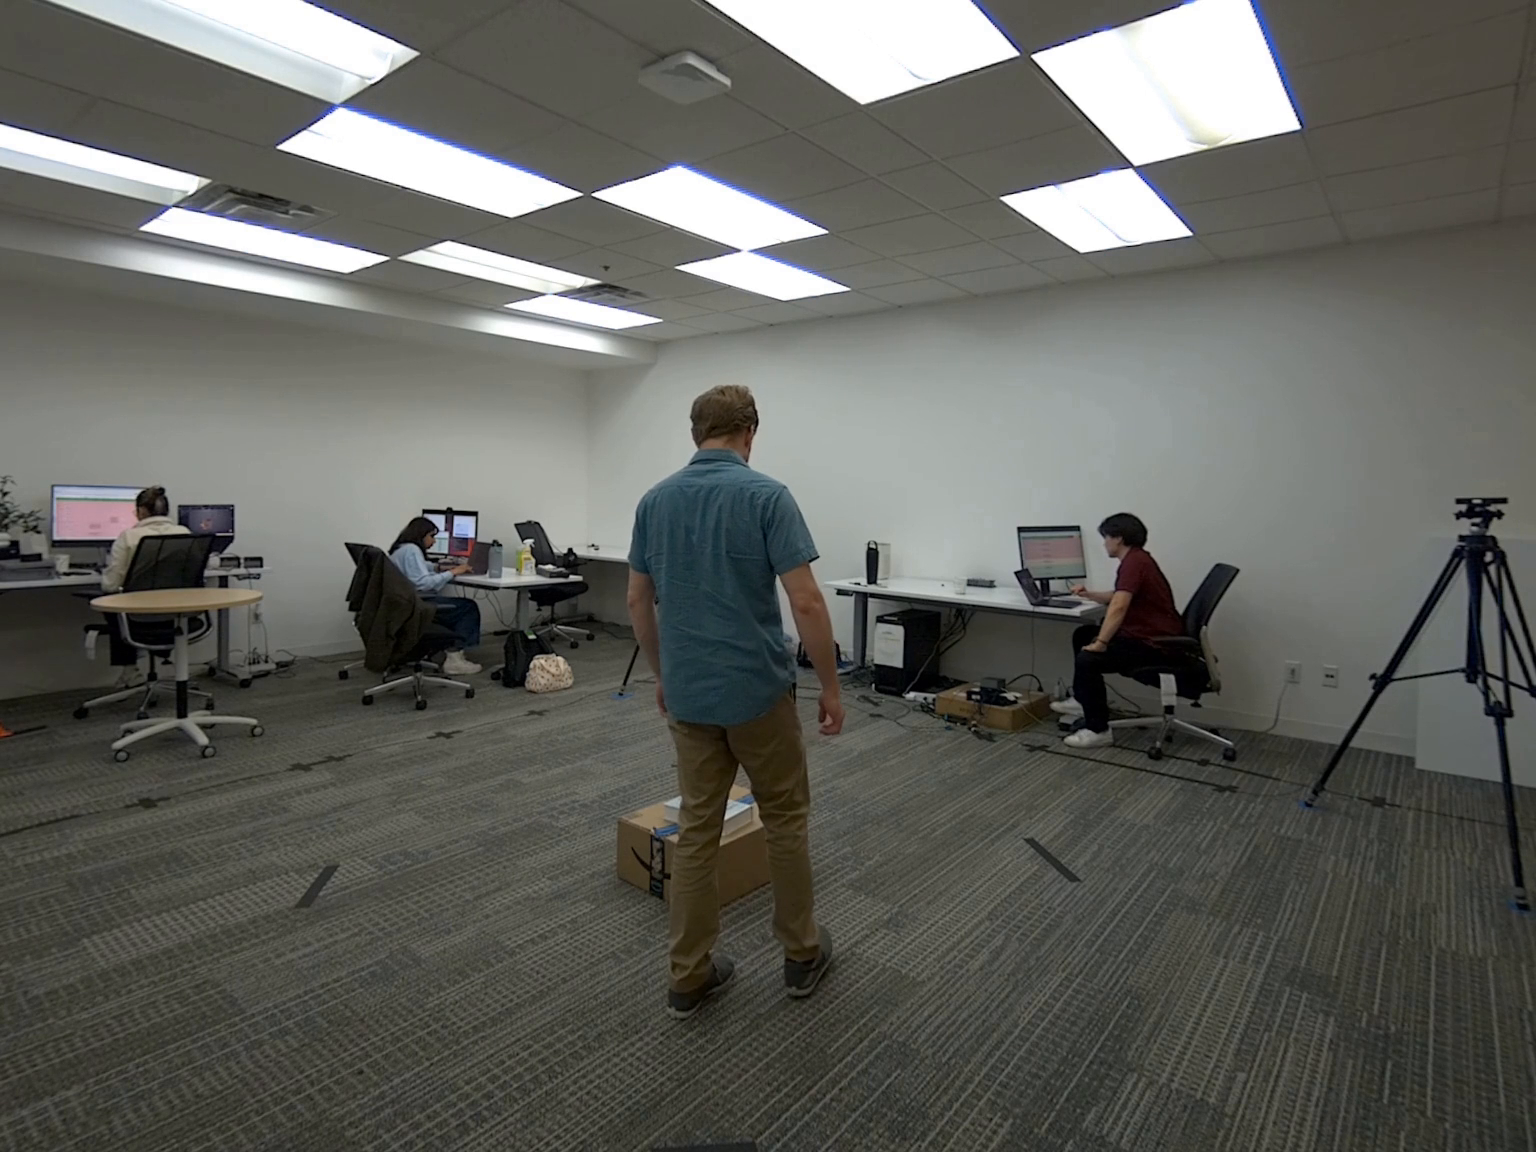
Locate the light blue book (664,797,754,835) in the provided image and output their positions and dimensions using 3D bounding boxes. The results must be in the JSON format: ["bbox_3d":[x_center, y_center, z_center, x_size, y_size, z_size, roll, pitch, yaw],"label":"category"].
[{"bbox_3d":[-0.222,0.834,3.032,0.269,0.059,0.186,4,6,33],"label":"light blue book"}]
